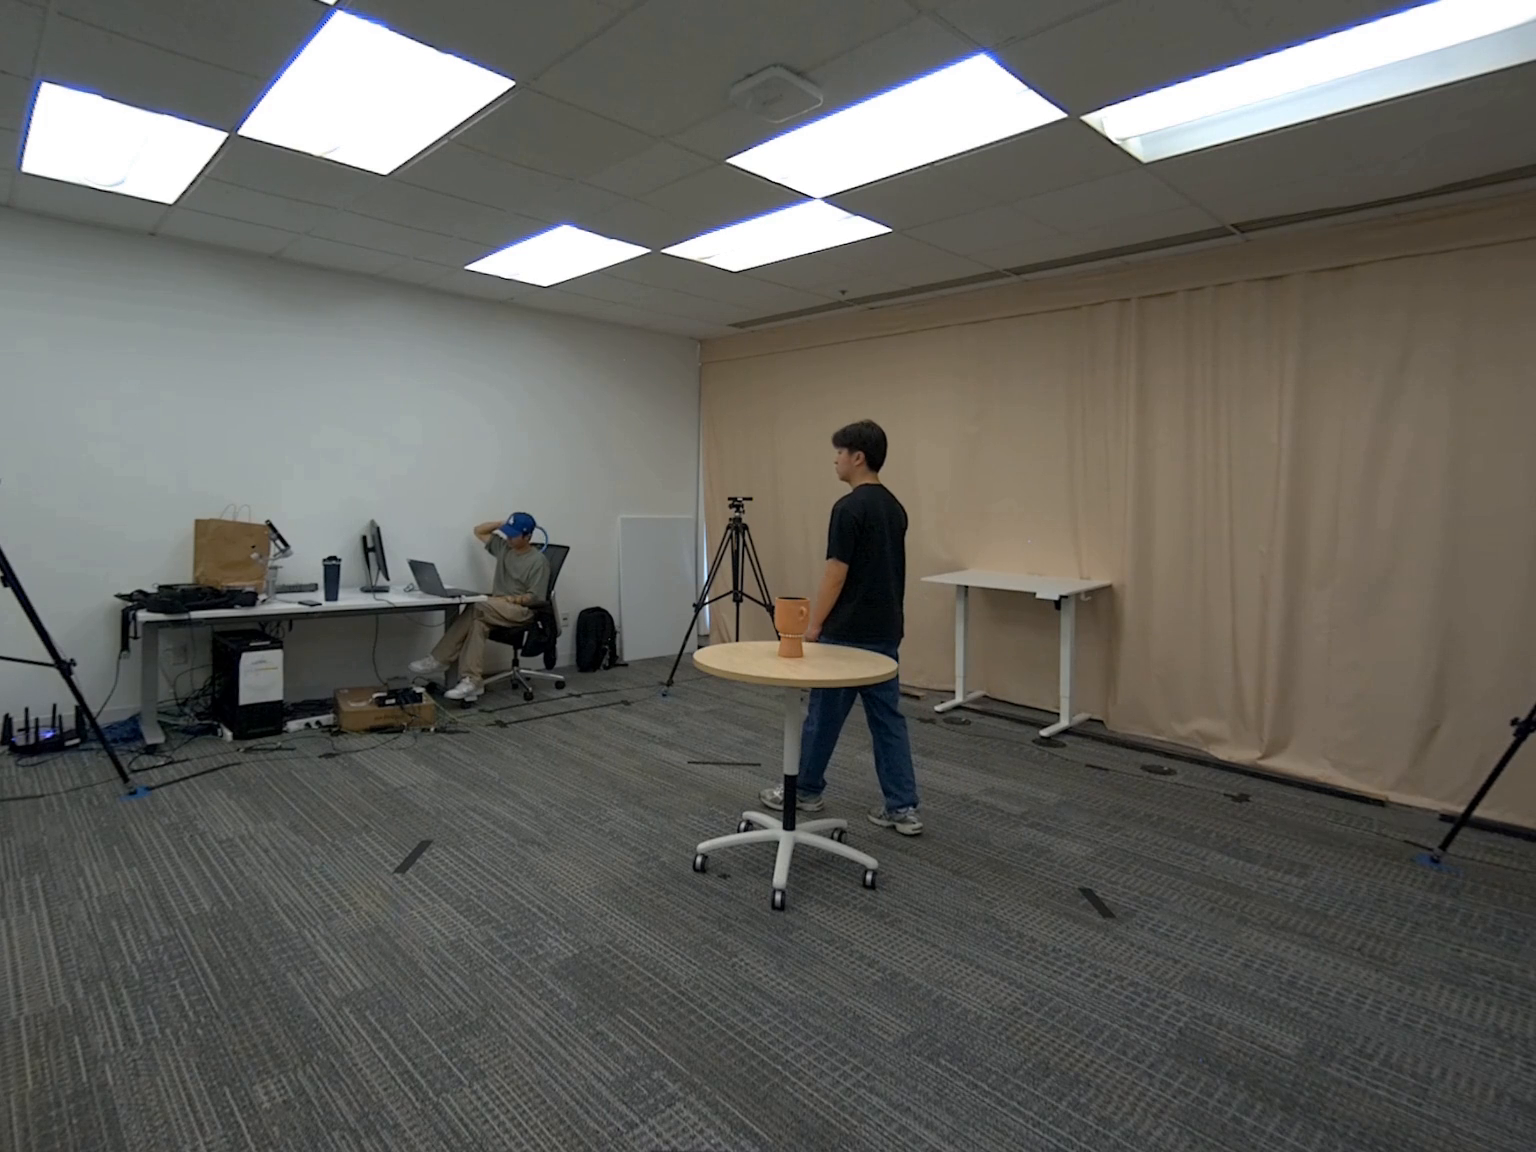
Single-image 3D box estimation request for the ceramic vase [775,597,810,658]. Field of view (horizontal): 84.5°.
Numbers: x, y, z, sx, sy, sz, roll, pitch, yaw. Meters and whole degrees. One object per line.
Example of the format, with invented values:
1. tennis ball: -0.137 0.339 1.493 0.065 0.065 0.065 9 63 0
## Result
1. ceramic vase: 0.082 0.197 3.220 0.136 0.219 0.158 2 3 10
